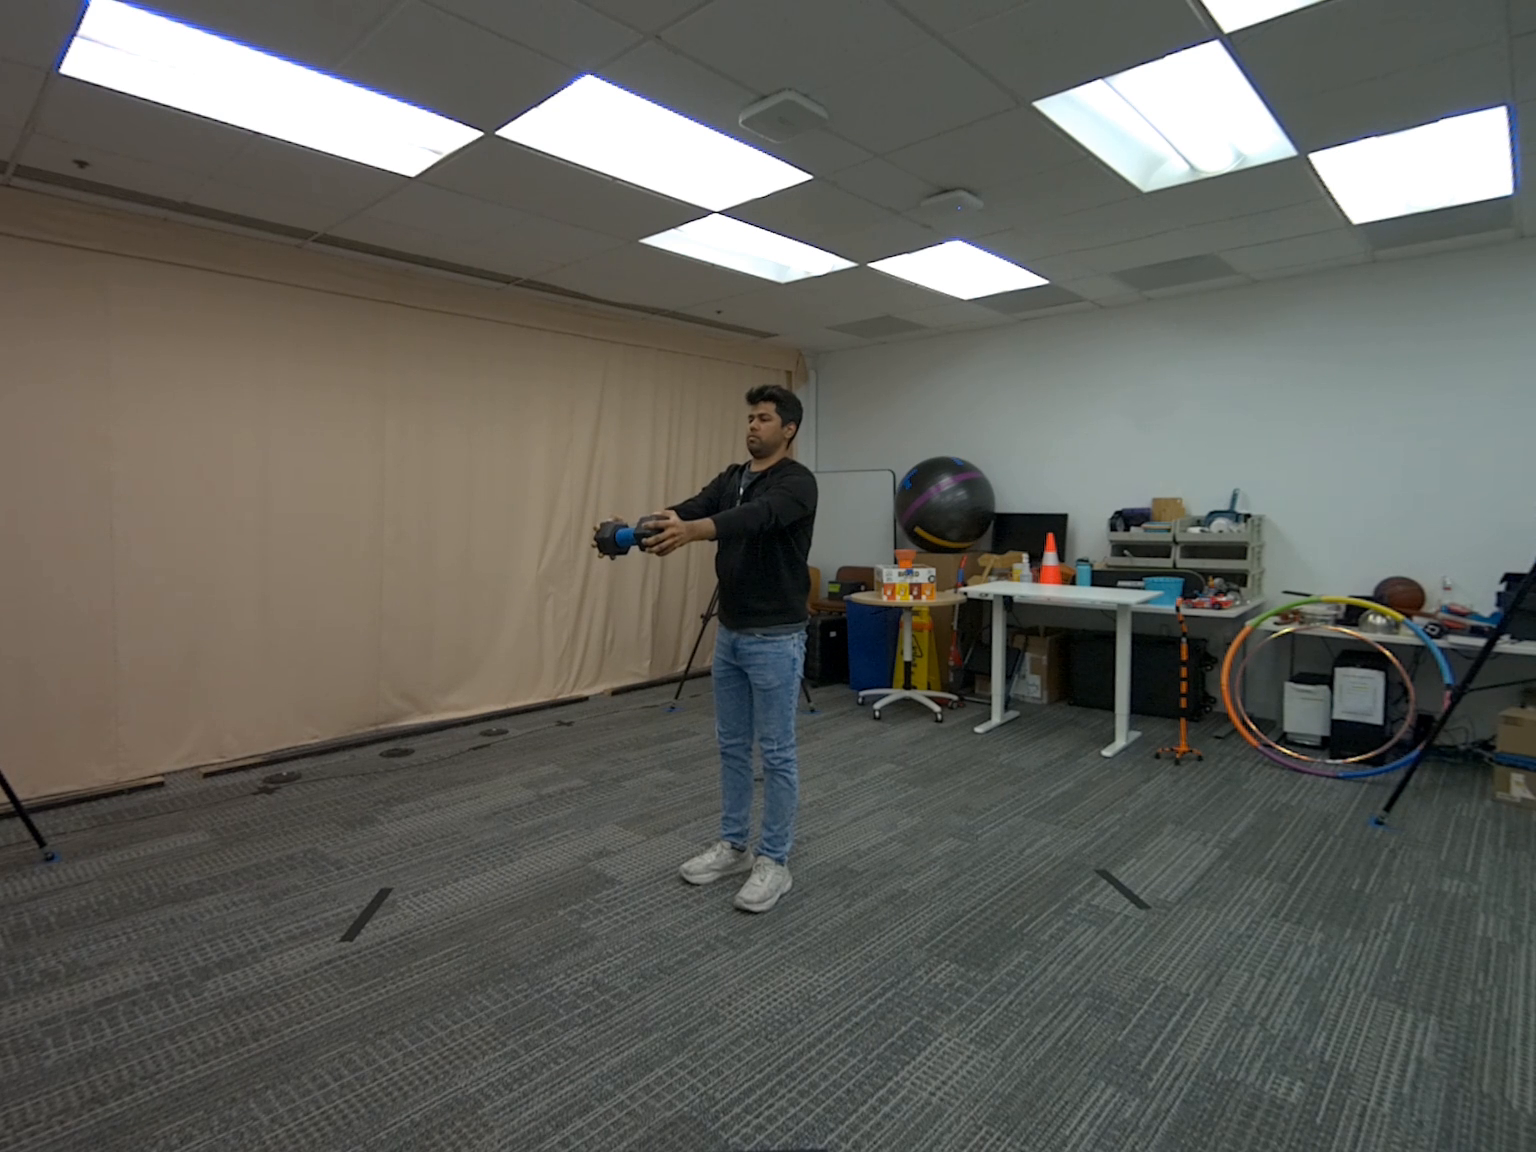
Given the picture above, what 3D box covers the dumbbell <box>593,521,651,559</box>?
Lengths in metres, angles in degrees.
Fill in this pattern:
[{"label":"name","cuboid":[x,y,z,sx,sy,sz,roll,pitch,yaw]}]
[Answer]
[{"label":"dumbbell","cuboid":[-0.415,-0.147,2.666,0.303,0.120,0.107,-1,31,46]}]
